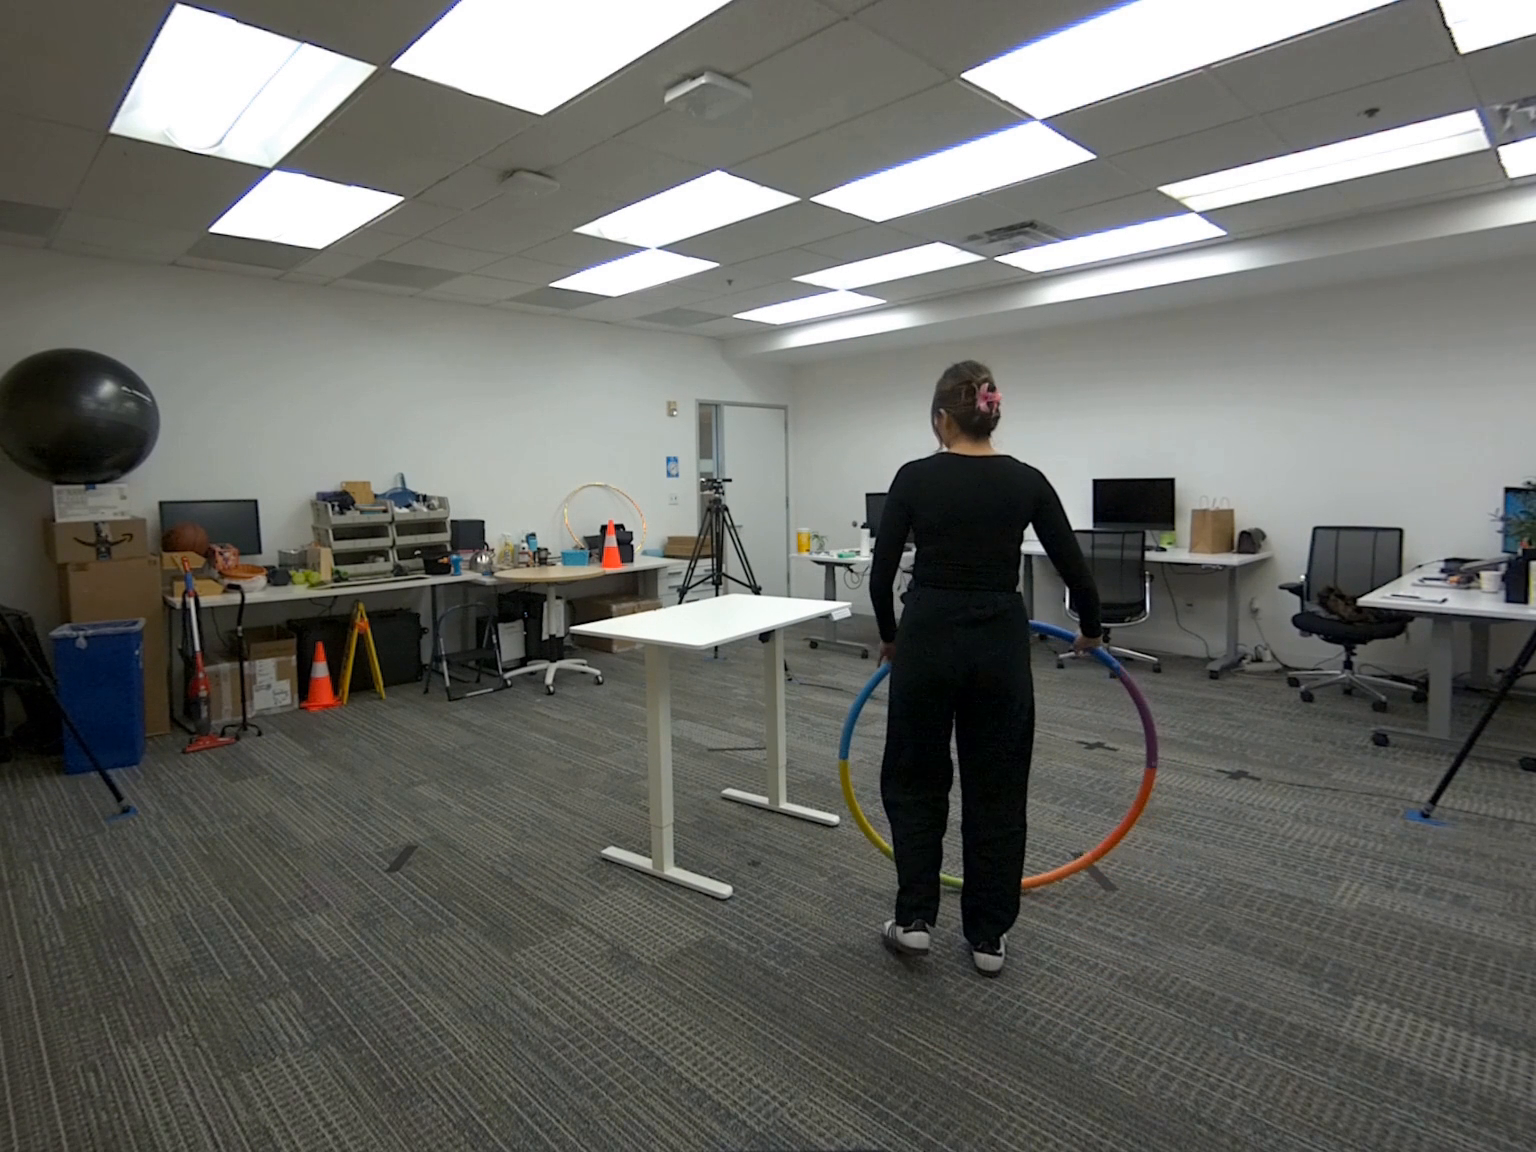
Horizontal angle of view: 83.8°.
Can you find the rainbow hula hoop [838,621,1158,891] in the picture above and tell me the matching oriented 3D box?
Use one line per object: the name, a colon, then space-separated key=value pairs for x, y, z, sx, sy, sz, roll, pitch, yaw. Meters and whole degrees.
rainbow hula hoop: x=0.735 y=0.595 z=2.729 sx=0.983 sy=0.963 sz=0.036 roll=0 pitch=17 yaw=5
